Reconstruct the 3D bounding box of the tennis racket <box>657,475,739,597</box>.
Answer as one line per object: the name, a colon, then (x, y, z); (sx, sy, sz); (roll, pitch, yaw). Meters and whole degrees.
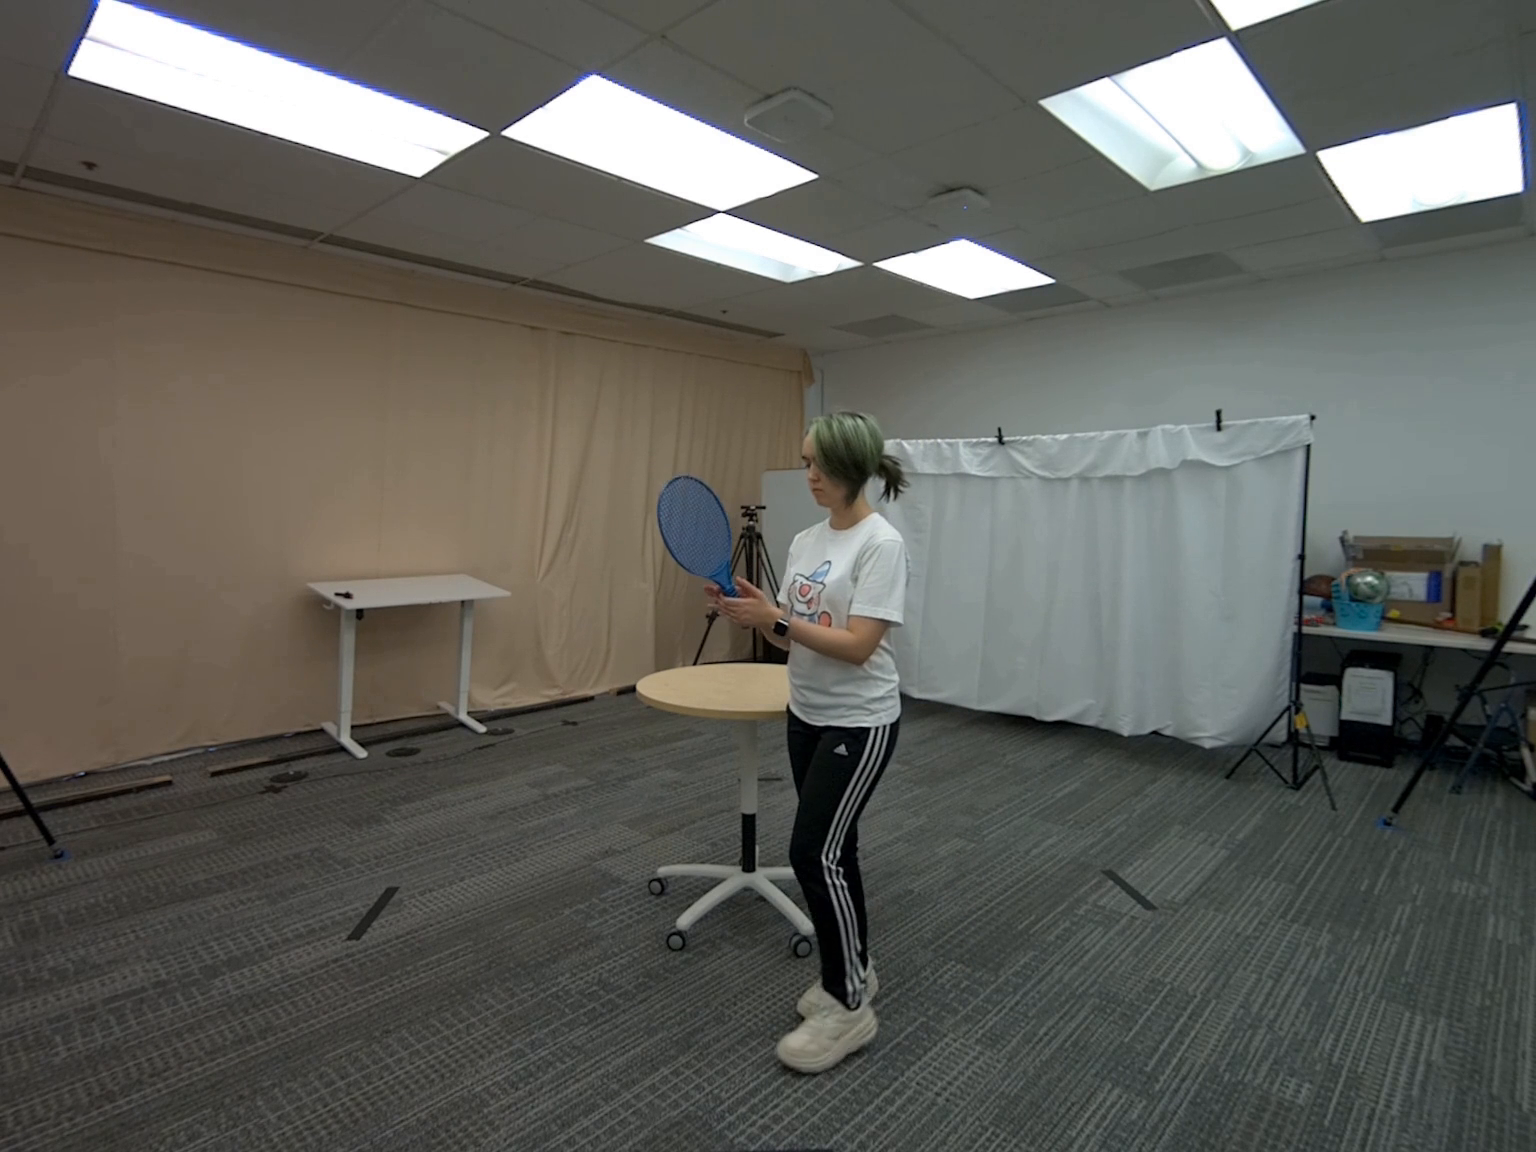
tennis racket: (-0.131, -0.057, 2.111); (0.032, 0.426, 0.211); (-13, 22, 48)
